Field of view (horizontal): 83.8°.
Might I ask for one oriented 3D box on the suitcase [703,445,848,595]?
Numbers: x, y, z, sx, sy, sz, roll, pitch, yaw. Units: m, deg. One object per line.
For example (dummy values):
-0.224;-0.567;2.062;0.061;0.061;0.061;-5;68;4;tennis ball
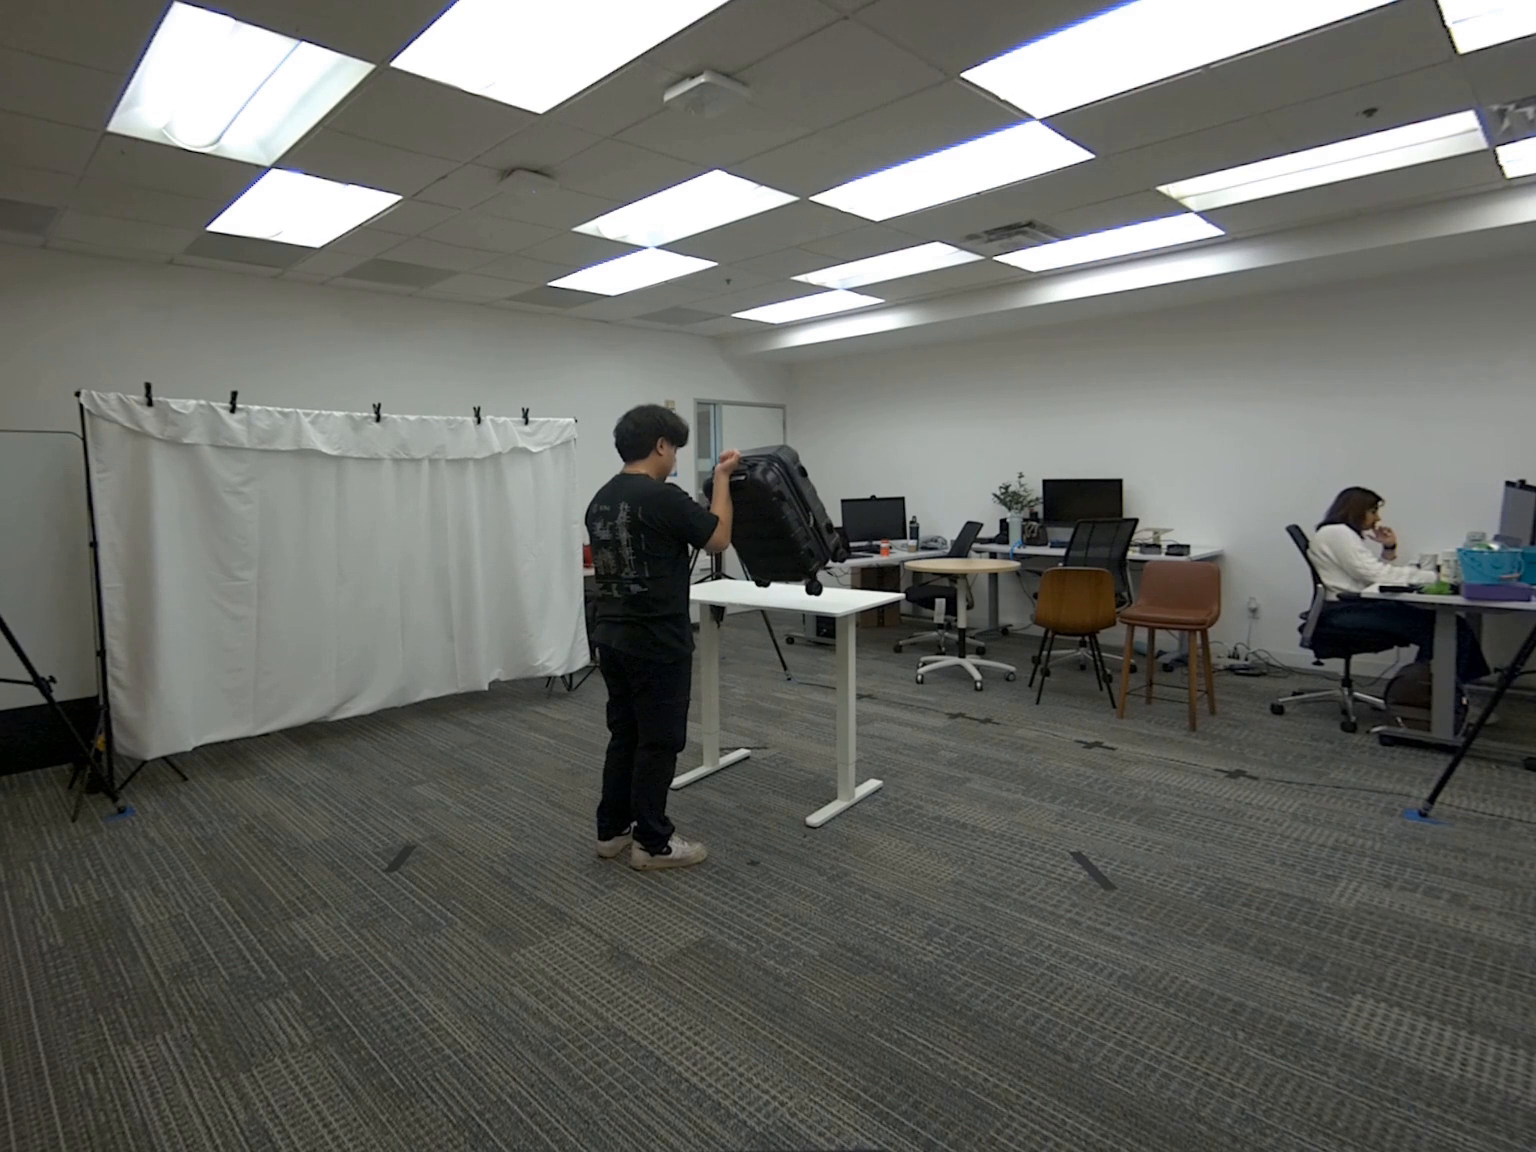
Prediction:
0.024;-0.219;3.250;0.386;0.534;0.248;1;37;44;suitcase
